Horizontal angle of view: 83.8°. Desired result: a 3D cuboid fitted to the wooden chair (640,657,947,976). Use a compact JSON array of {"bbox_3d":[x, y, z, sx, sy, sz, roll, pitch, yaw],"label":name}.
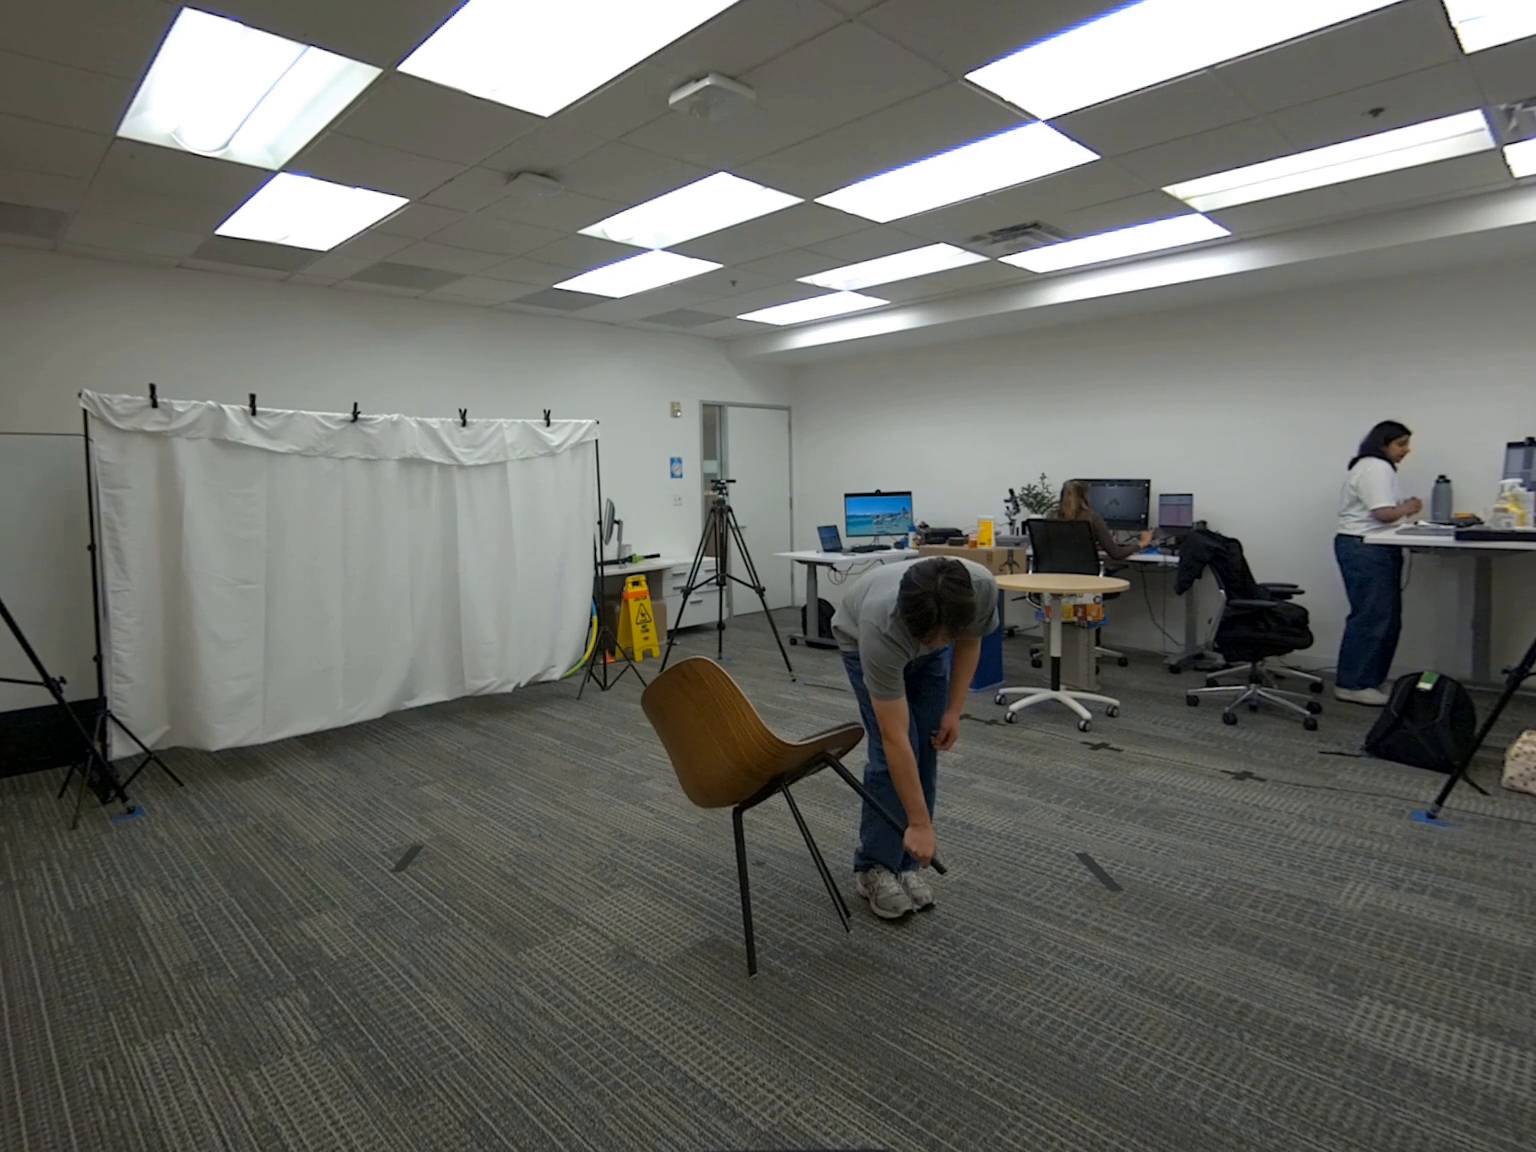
[{"bbox_3d":[0.048,0.634,2.581,0.511,0.898,0.478,-11,-27,-46],"label":"wooden chair"}]
